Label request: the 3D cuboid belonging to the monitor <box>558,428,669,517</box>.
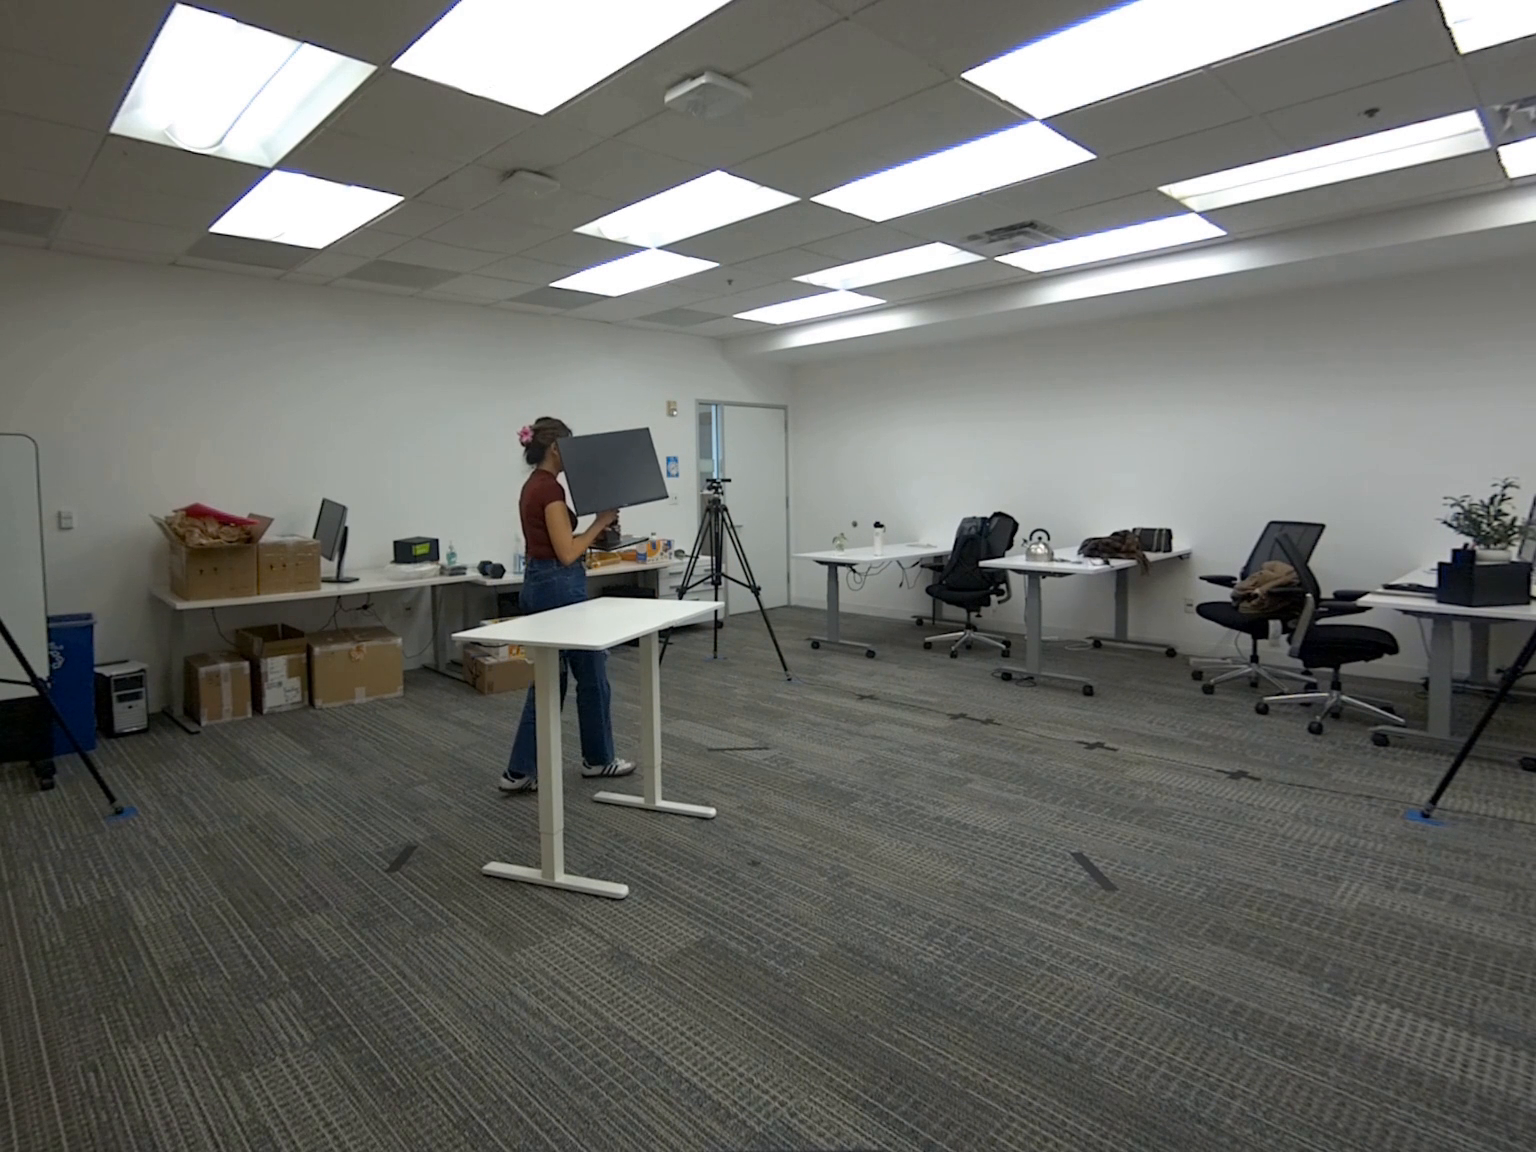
[{"bbox_3d":[-0.713,-0.395,3.904,0.193,0.518,0.528,2,13,40],"label":"monitor"}]
